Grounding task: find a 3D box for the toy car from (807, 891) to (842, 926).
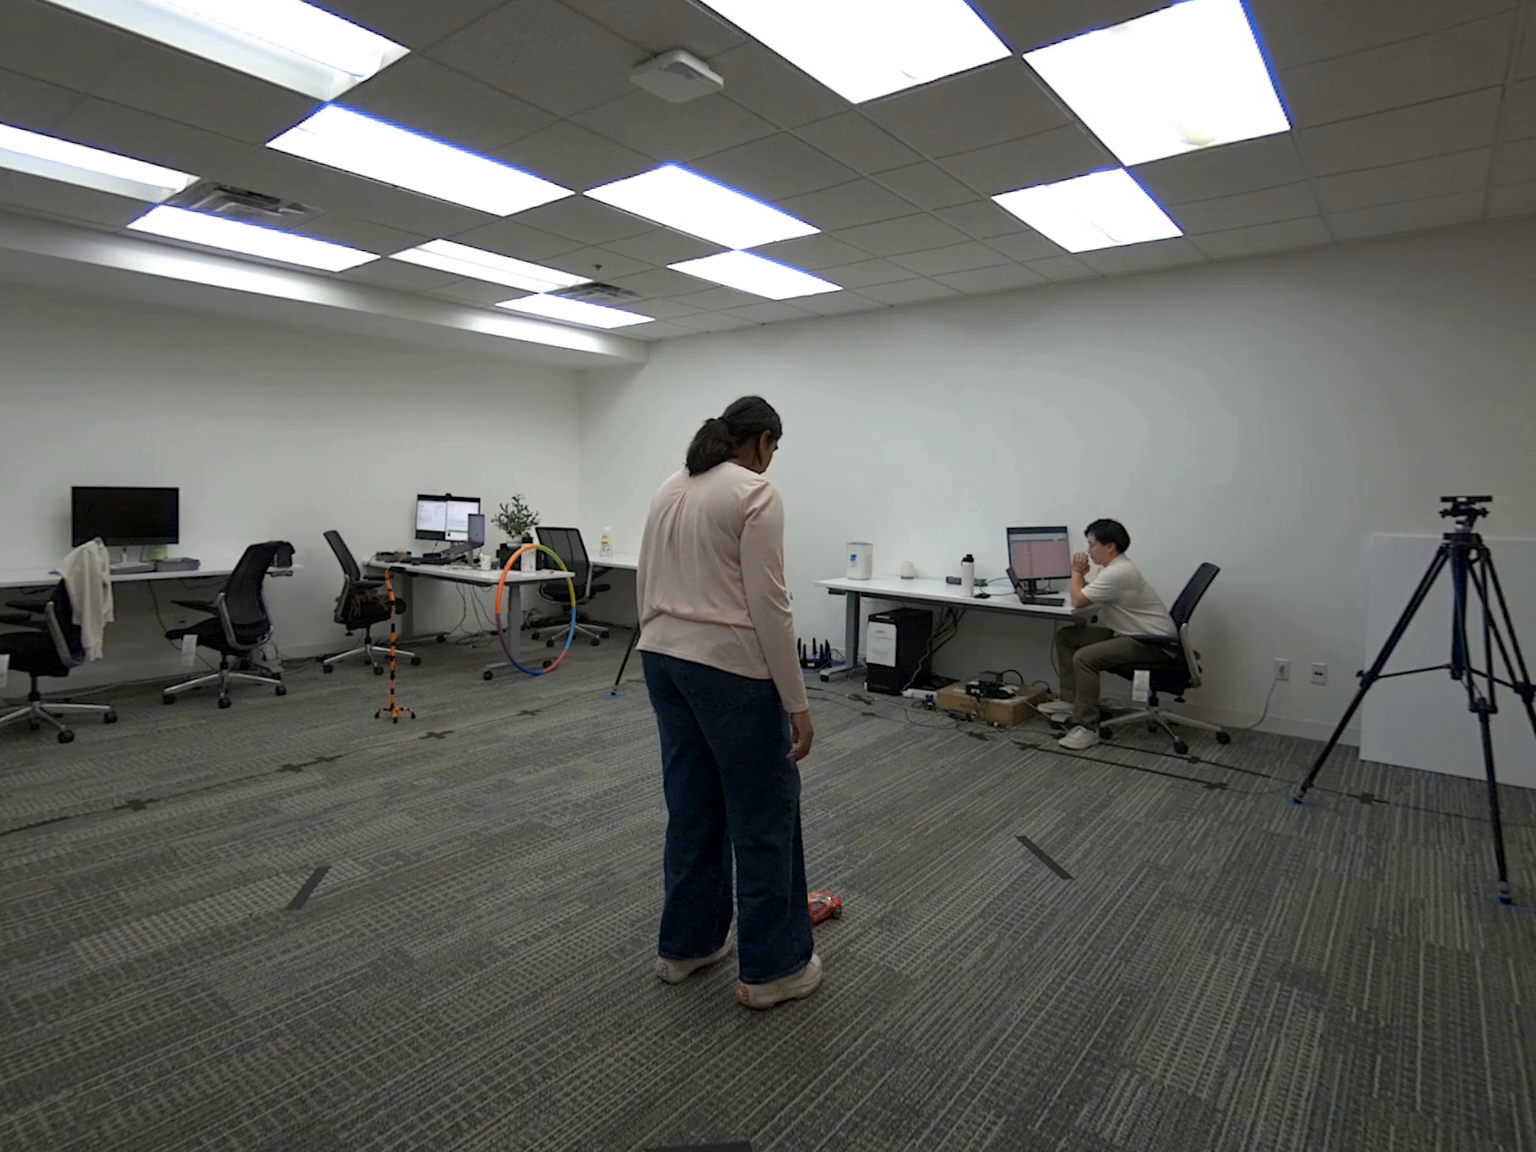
[{"bbox_3d":[0.119,1.081,2.745,0.245,0.083,0.135,11,-3,-40],"label":"toy car"}]
